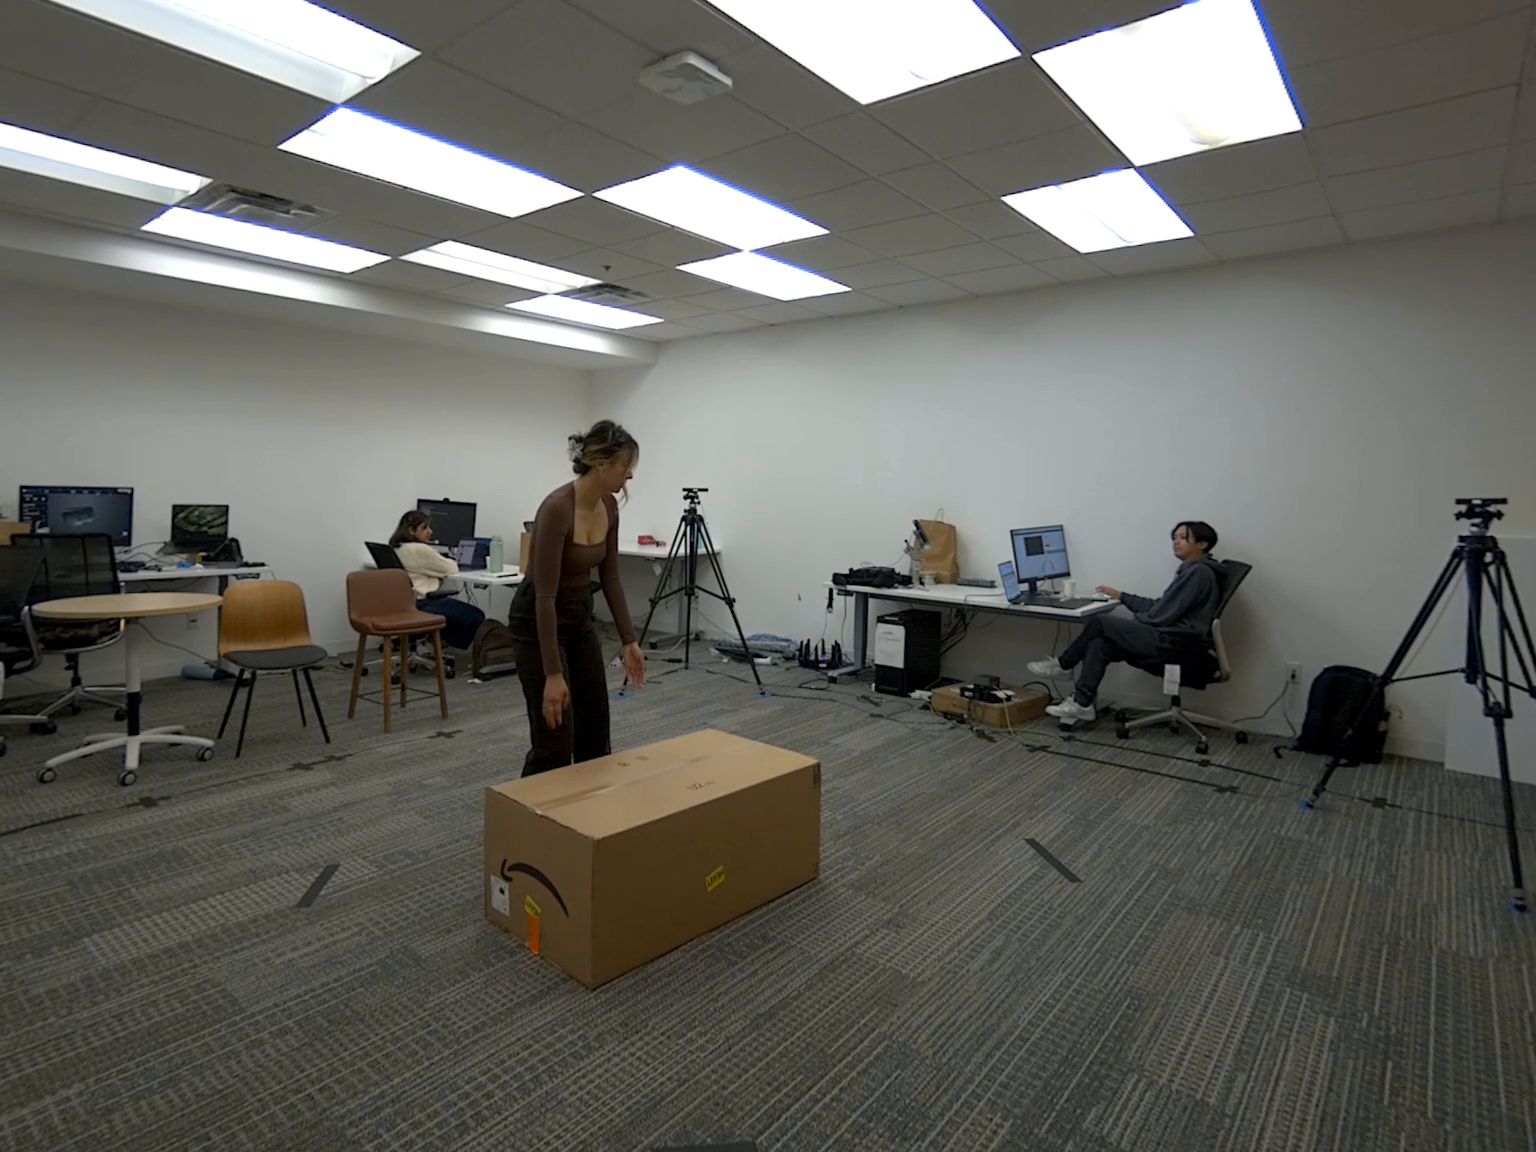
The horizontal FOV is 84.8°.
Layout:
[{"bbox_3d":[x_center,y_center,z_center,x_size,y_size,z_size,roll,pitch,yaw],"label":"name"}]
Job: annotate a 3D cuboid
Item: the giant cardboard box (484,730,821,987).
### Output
[{"bbox_3d":[-0.366,0.881,2.881,0.604,0.445,0.997,6,8,43],"label":"giant cardboard box"}]
